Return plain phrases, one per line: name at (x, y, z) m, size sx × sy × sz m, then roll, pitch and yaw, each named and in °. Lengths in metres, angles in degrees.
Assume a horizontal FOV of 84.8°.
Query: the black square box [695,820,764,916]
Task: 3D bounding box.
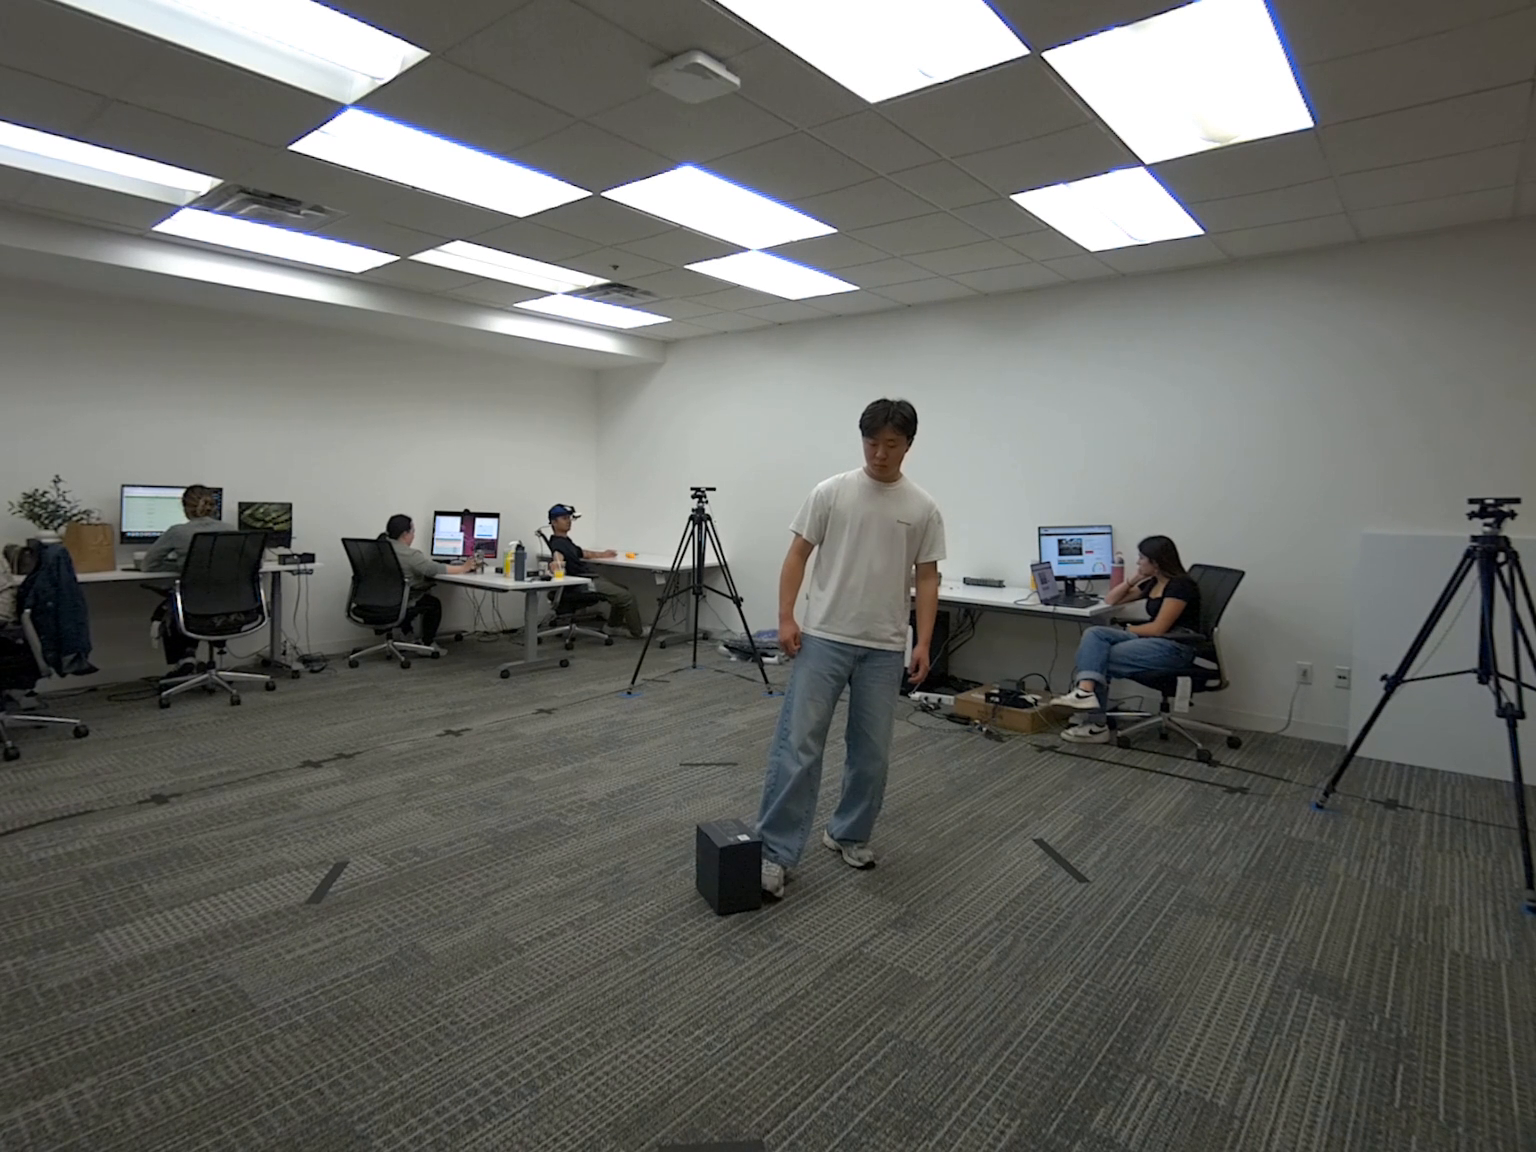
black square box at (-0.148, 0.969, 2.870) m, size 0.152 × 0.227 × 0.222 m, roll -1°, pitch 4°, yaw -23°
